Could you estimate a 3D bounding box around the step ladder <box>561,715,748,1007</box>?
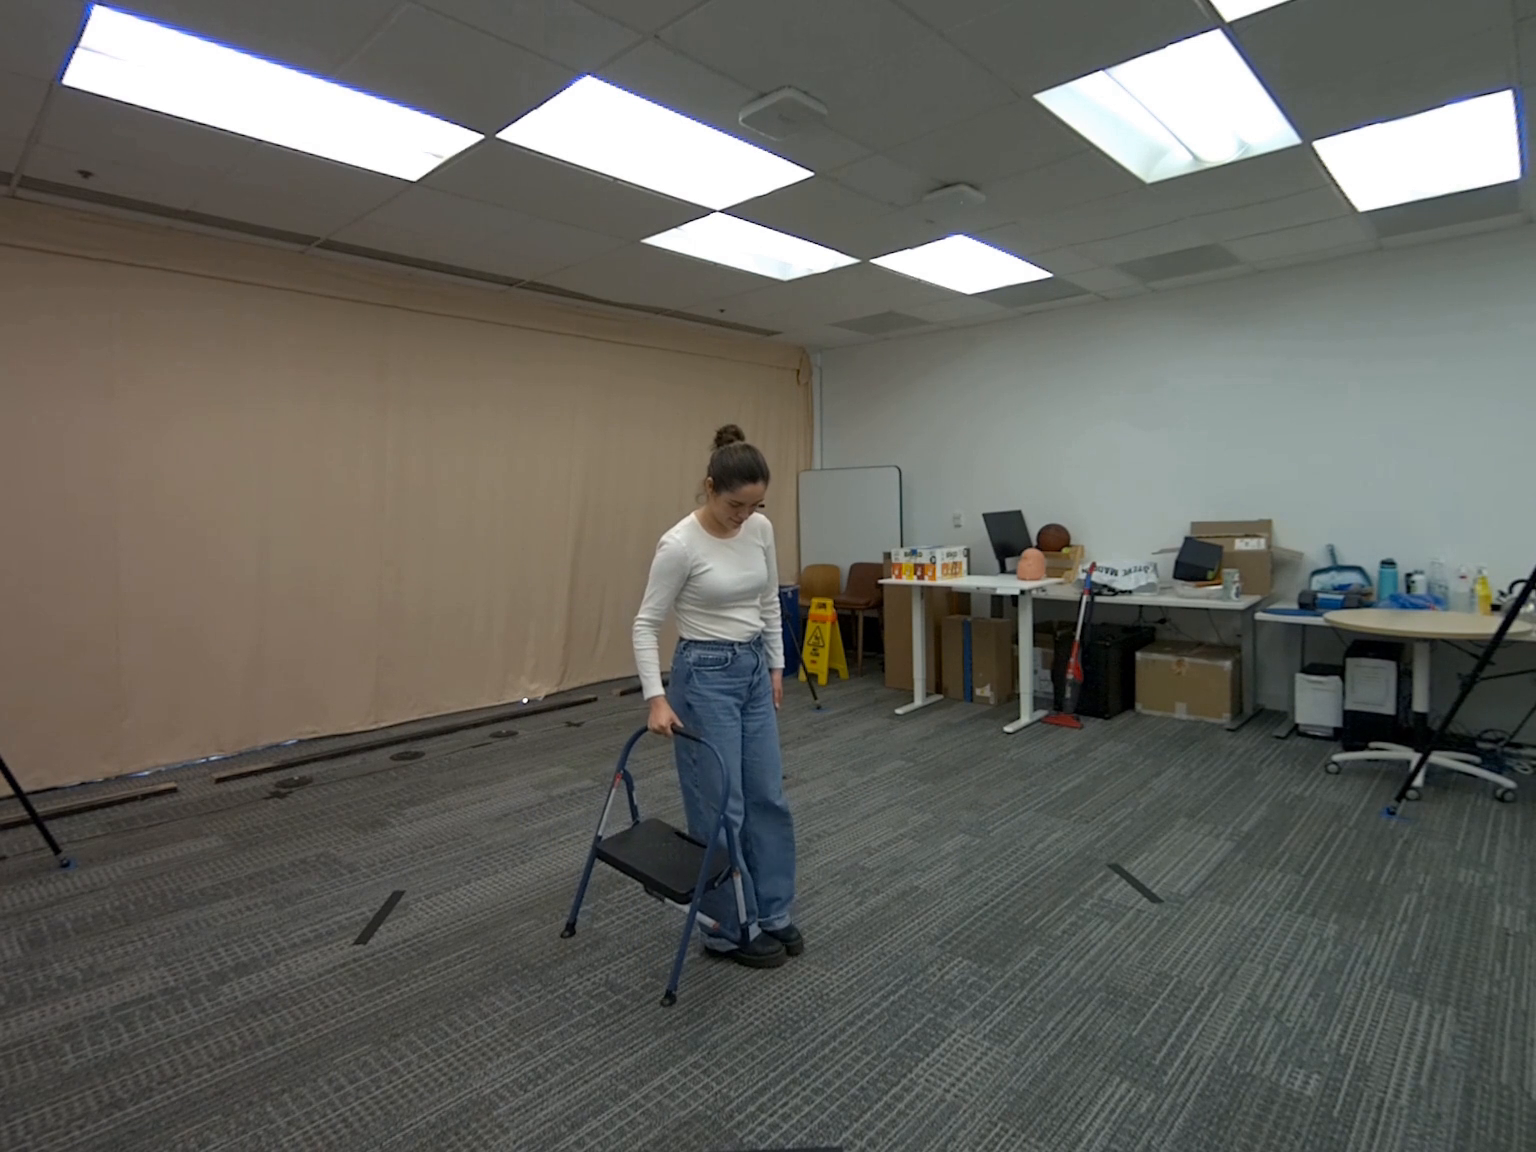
[{"bbox_3d":[-0.300,0.746,2.318,0.446,0.602,0.339,13,13,39],"label":"step ladder"}]
